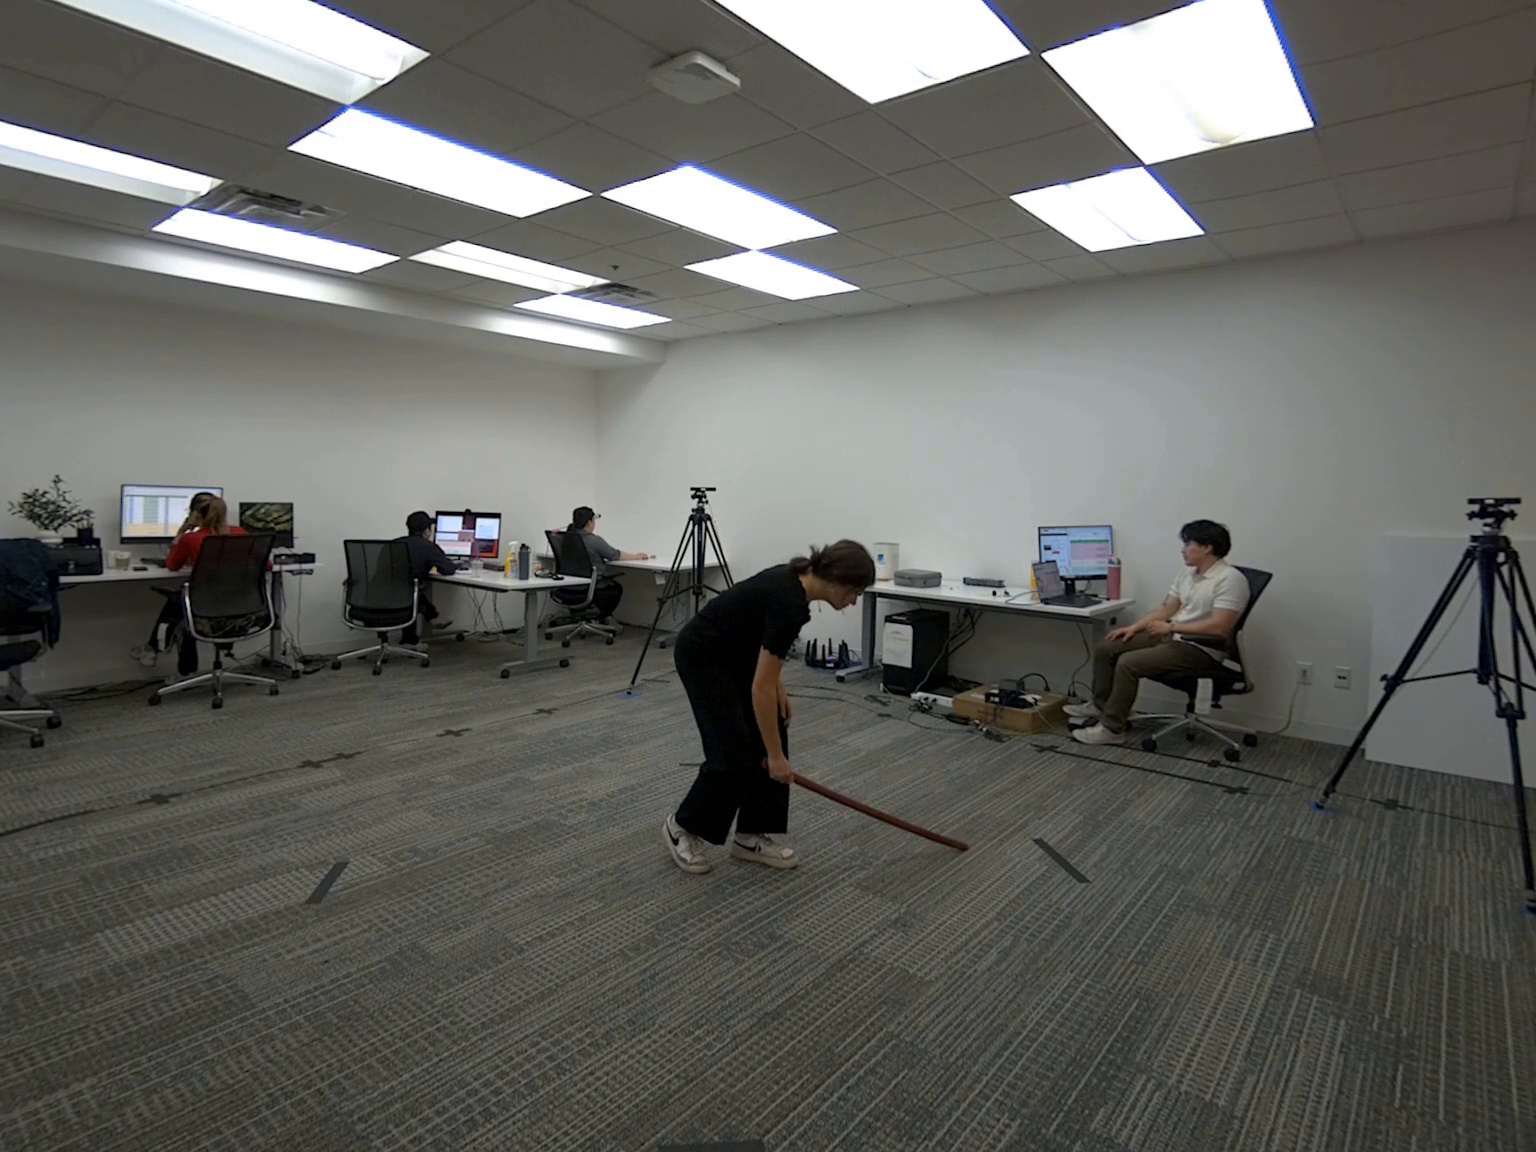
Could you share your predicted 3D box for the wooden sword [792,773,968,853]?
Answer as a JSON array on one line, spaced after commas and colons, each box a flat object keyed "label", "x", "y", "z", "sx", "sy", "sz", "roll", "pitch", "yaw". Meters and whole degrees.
[{"label": "wooden sword", "x": 0.377, "y": 0.870, "z": 3.117, "sx": 0.993, "sy": 0.051, "sz": 0.025, "roll": 26, "pitch": 15, "yaw": -25}]
